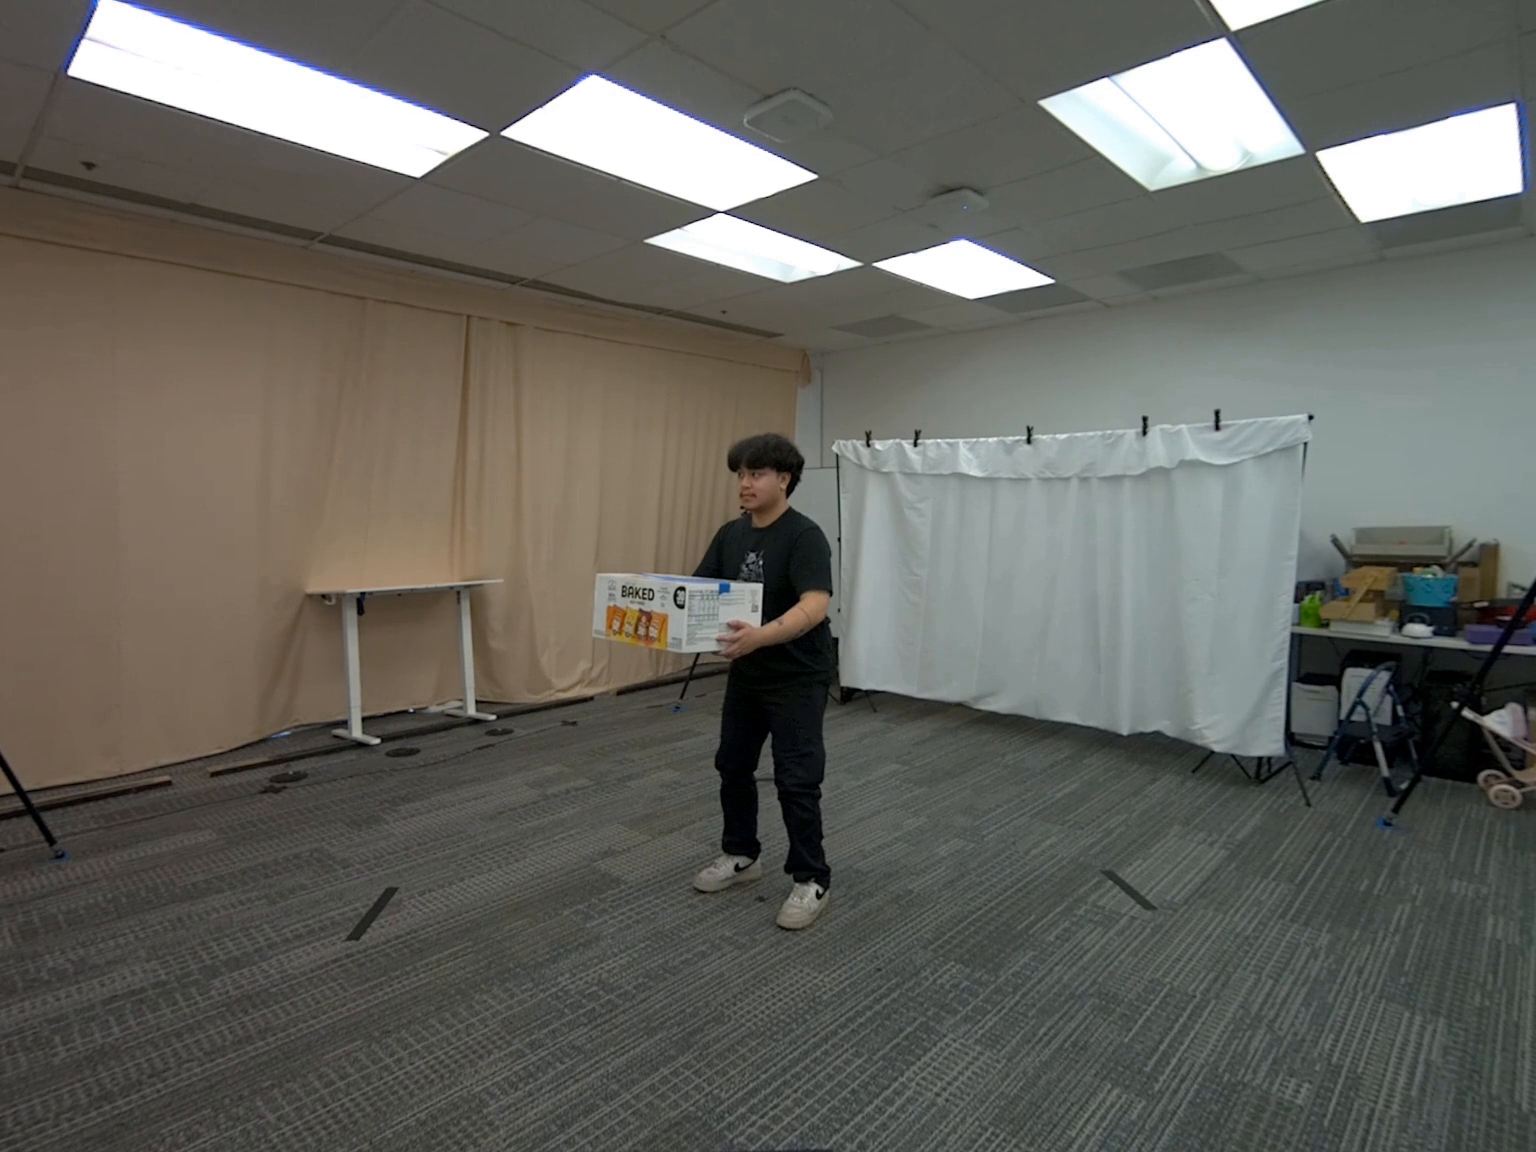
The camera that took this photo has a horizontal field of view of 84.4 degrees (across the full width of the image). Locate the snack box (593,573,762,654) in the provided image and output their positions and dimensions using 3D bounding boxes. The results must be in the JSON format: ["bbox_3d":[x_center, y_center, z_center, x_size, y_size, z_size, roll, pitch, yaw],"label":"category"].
[{"bbox_3d":[-0.282,0.111,2.646,0.419,0.205,0.329,5,3,41],"label":"snack box"}]
